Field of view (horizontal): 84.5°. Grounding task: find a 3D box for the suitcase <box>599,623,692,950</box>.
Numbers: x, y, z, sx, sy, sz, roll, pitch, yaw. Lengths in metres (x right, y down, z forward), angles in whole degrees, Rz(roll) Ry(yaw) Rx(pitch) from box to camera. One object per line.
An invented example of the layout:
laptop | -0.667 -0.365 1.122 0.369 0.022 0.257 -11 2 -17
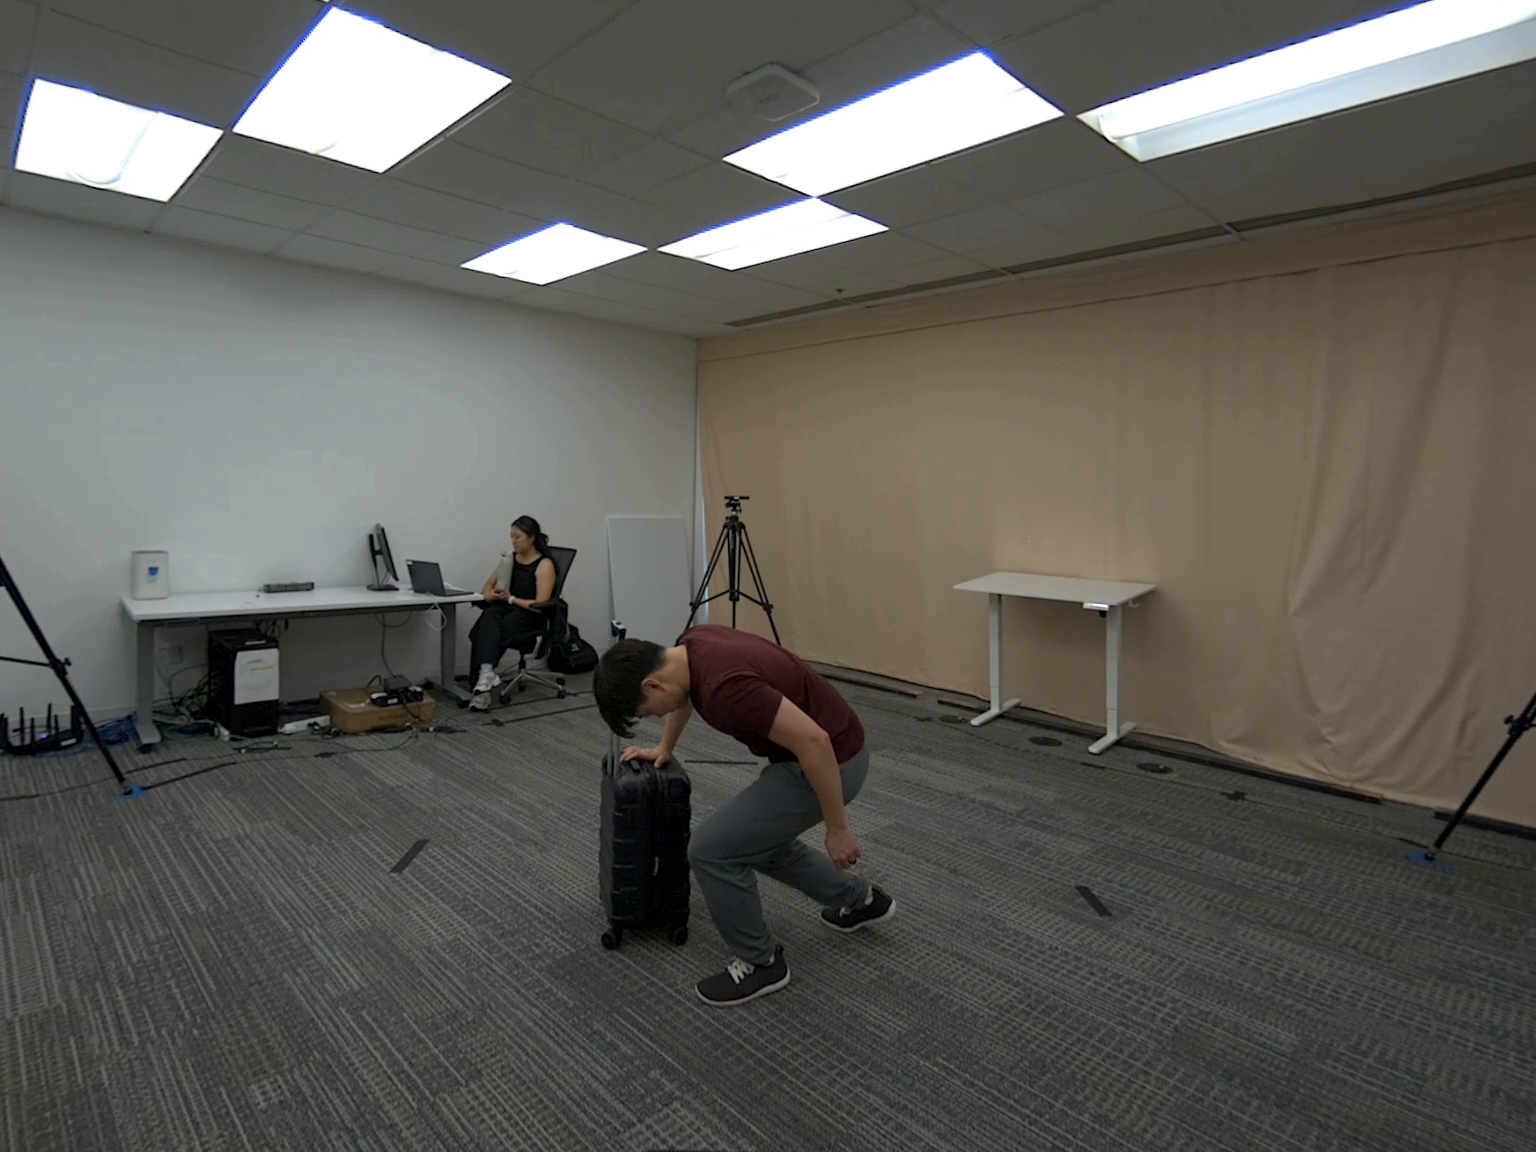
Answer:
suitcase | -0.404 0.662 2.729 0.254 0.976 0.389 2 4 -15
